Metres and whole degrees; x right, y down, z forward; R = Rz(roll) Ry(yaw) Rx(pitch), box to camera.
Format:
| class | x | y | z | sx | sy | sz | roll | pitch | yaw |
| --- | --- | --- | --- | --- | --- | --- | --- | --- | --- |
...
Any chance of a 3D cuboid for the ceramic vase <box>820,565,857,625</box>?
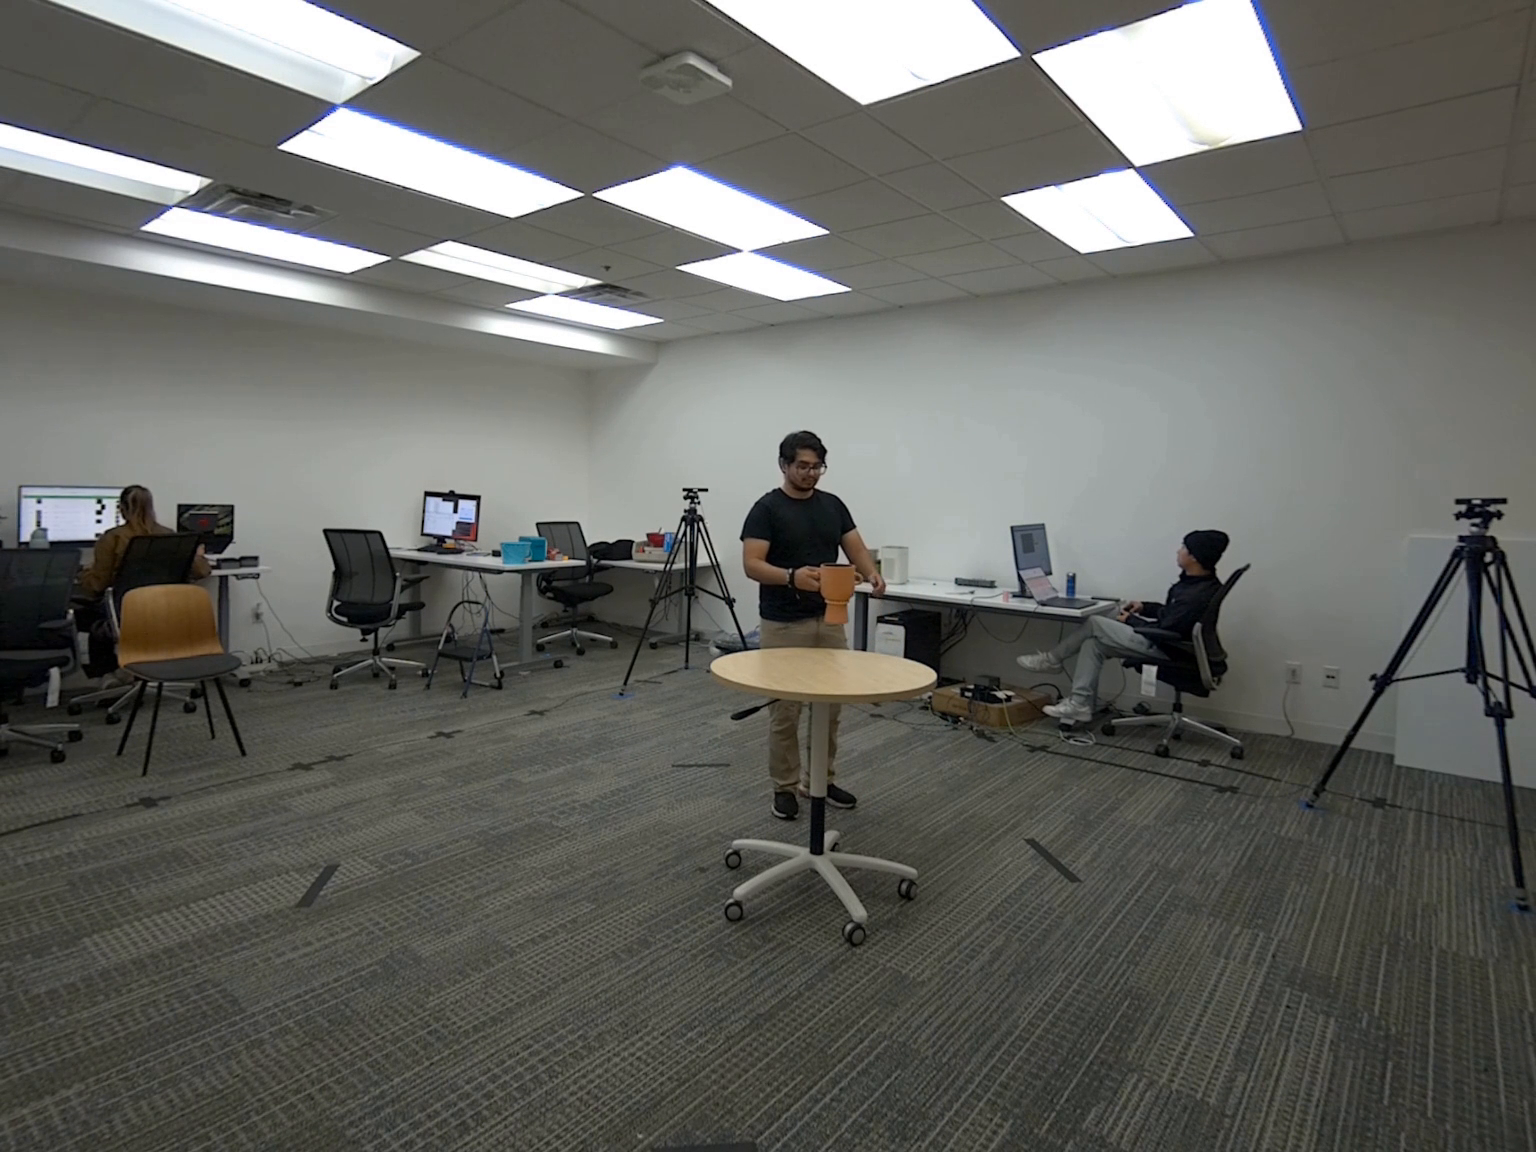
| class | x | y | z | sx | sy | sz | roll | pitch | yaw |
| --- | --- | --- | --- | --- | --- | --- | --- | --- | --- |
| ceramic vase | 0.265 | 0.064 | 3.315 | 0.131 | 0.218 | 0.164 | -3 | 9 | -40 |
